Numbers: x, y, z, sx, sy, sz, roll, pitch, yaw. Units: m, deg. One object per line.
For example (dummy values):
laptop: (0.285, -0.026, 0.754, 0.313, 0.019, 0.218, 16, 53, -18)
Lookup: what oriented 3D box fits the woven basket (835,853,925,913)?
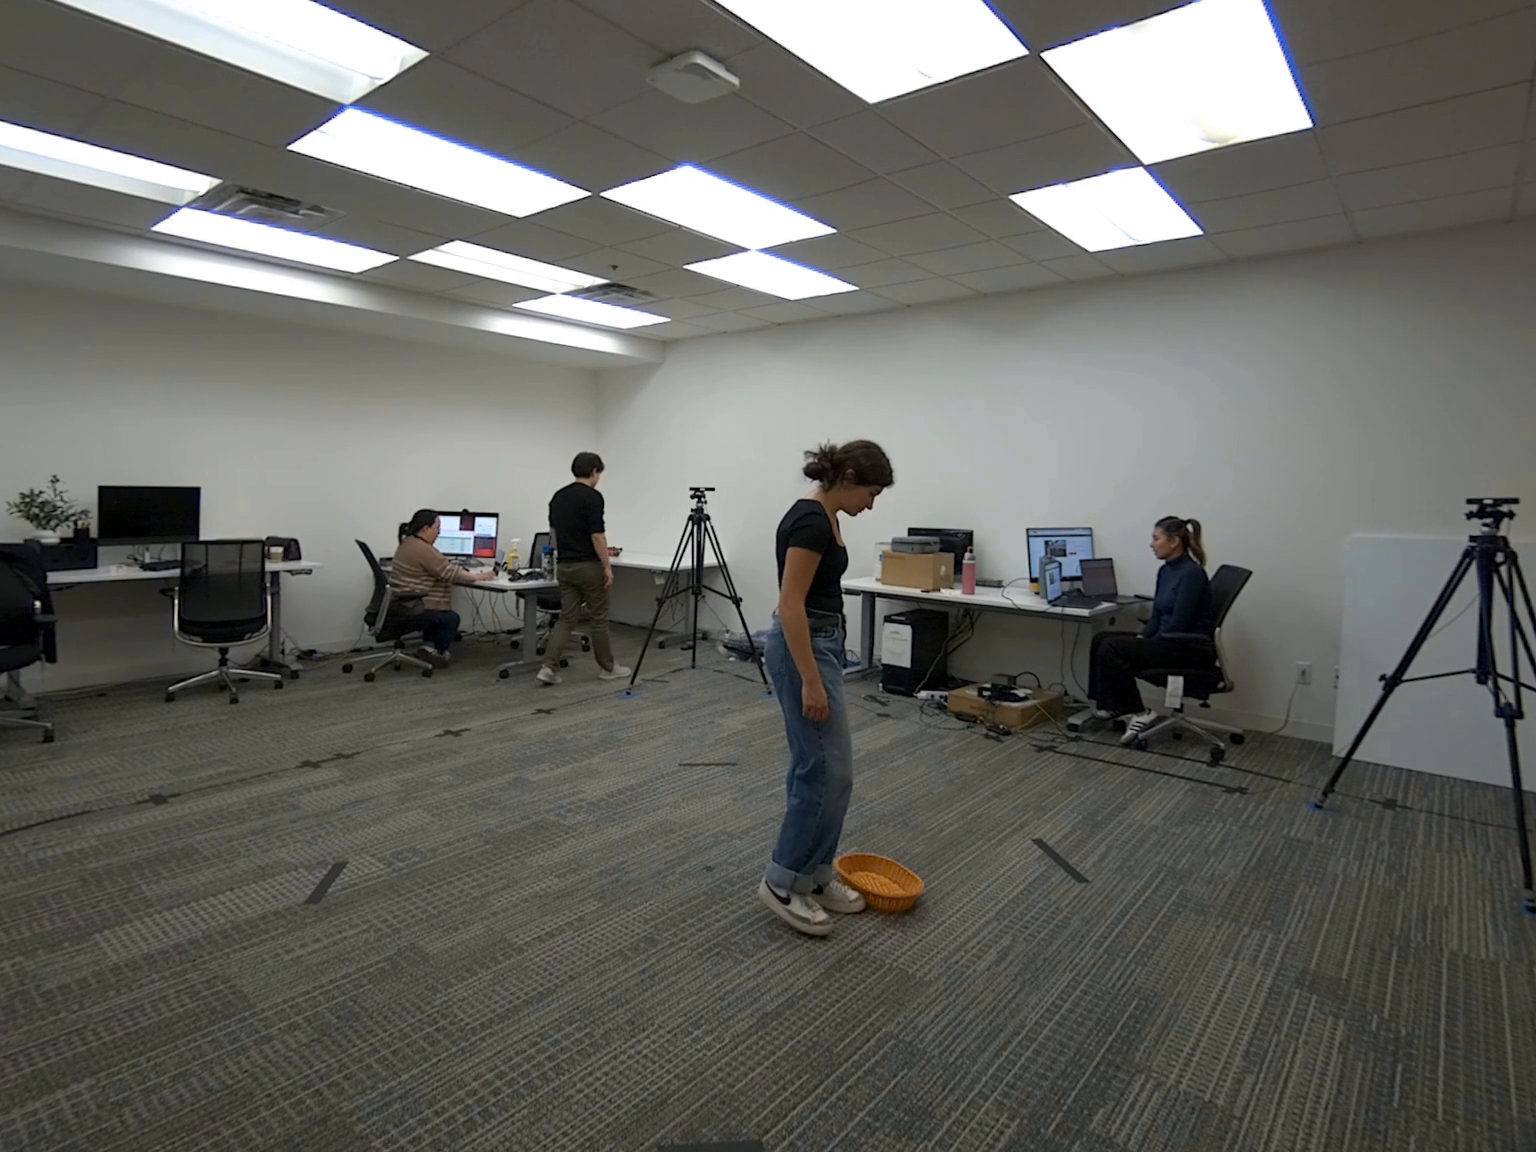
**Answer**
woven basket: (0.373, 1.055, 2.950, 0.246, 0.073, 0.361, 0, 5, -28)
